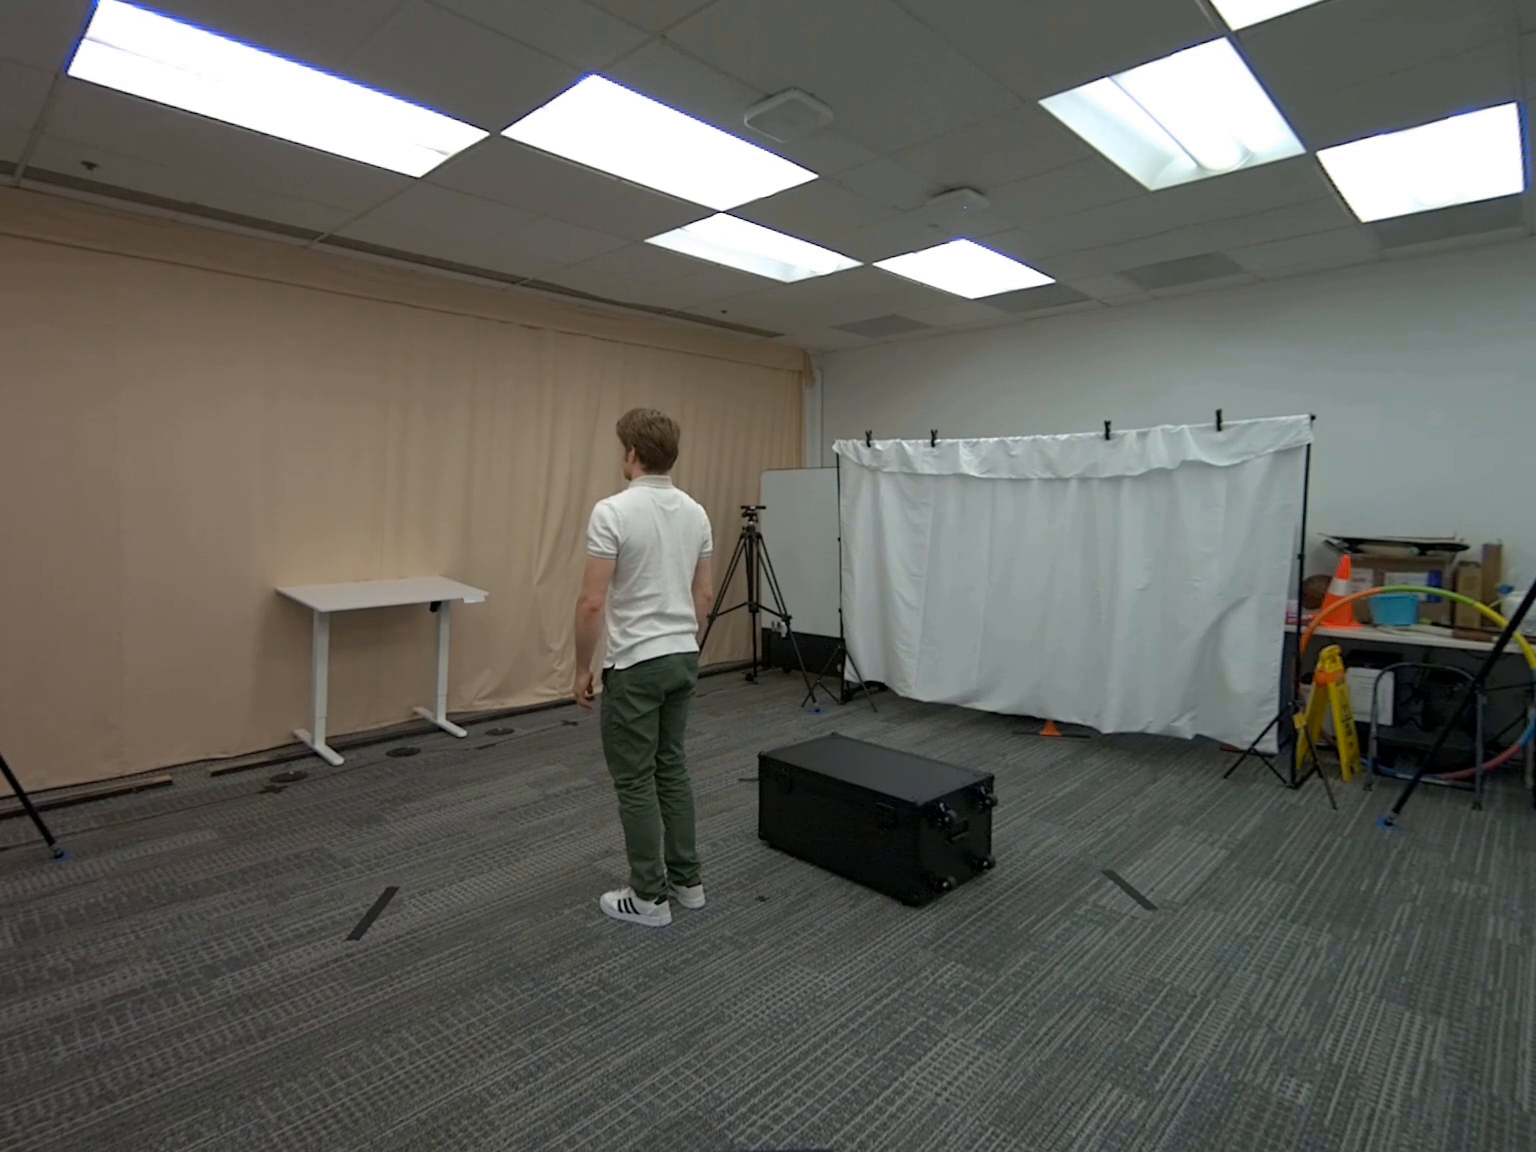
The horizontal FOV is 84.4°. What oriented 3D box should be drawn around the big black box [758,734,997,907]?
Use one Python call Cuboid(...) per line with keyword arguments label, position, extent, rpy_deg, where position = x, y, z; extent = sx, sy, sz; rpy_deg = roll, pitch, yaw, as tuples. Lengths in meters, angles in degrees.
Cuboid(label="big black box", position=(0.431, 0.920, 3.291), extent=(0.507, 0.384, 0.898), rpy_deg=(-2, 5, -44))
